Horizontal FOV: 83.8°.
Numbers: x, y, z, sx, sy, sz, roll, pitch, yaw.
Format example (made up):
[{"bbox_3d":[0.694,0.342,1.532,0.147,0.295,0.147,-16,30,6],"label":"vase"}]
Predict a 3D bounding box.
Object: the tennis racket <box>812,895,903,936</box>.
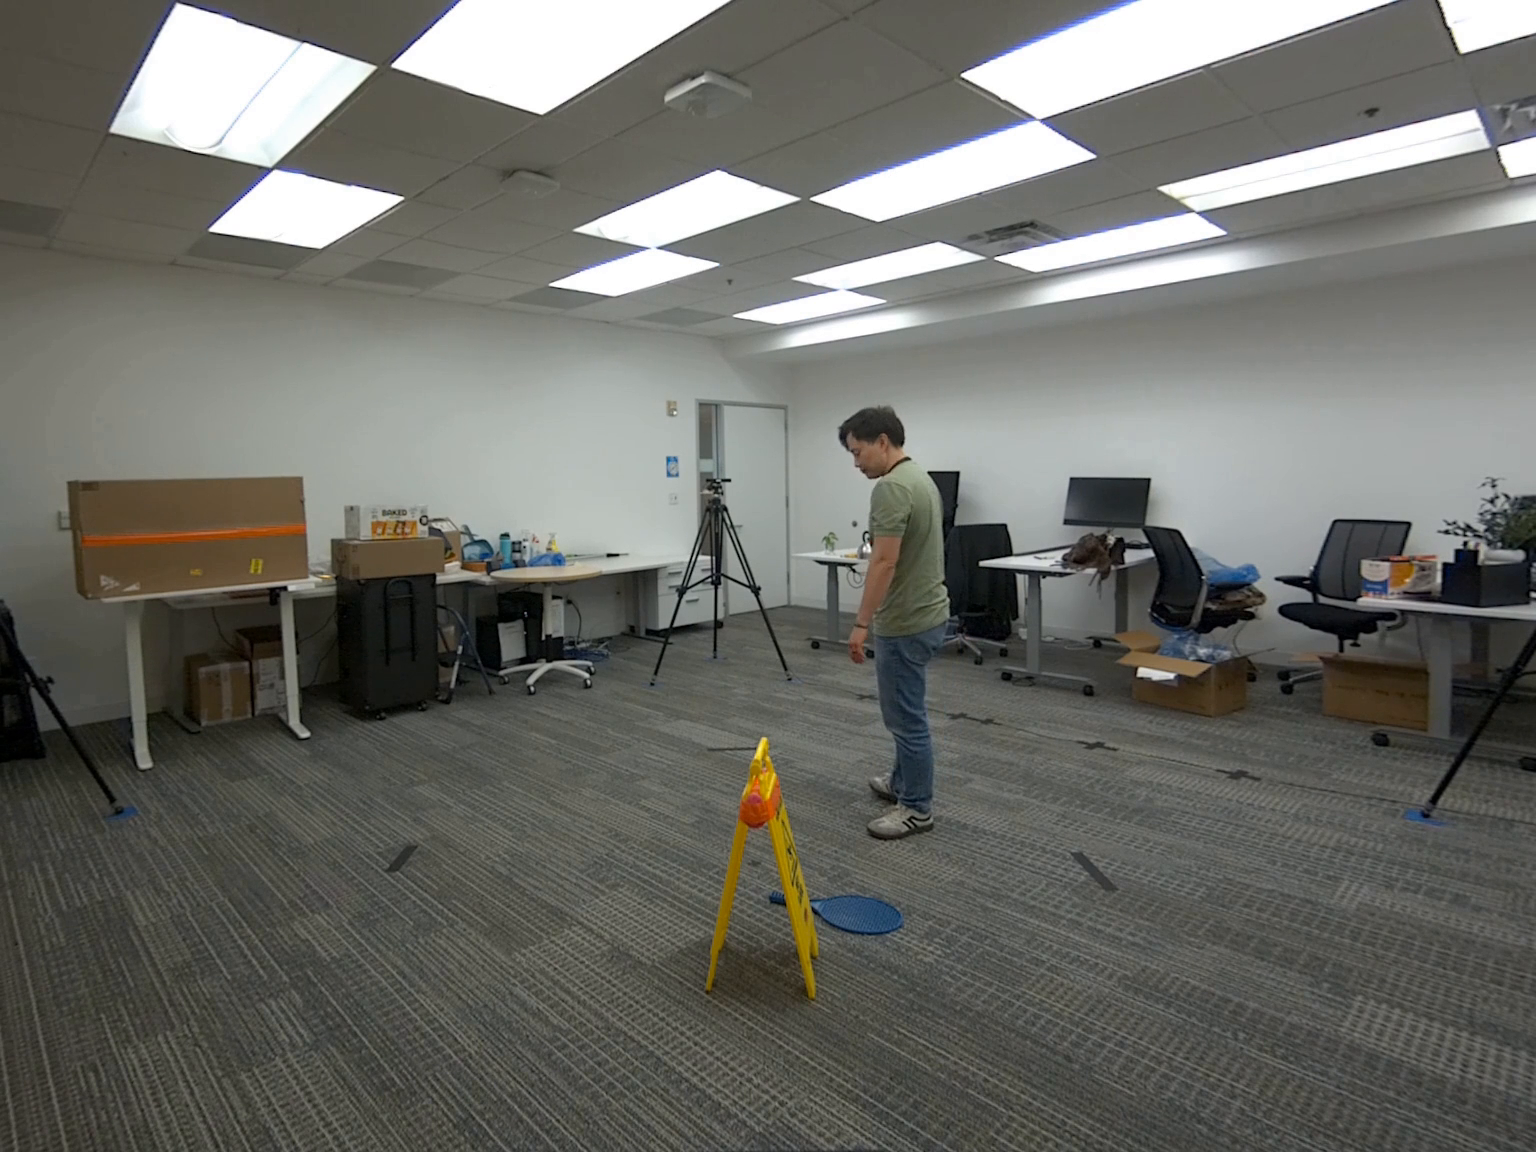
[{"bbox_3d":[0.217,1.070,2.741,0.441,0.031,0.211,3,7,19],"label":"tennis racket"}]
